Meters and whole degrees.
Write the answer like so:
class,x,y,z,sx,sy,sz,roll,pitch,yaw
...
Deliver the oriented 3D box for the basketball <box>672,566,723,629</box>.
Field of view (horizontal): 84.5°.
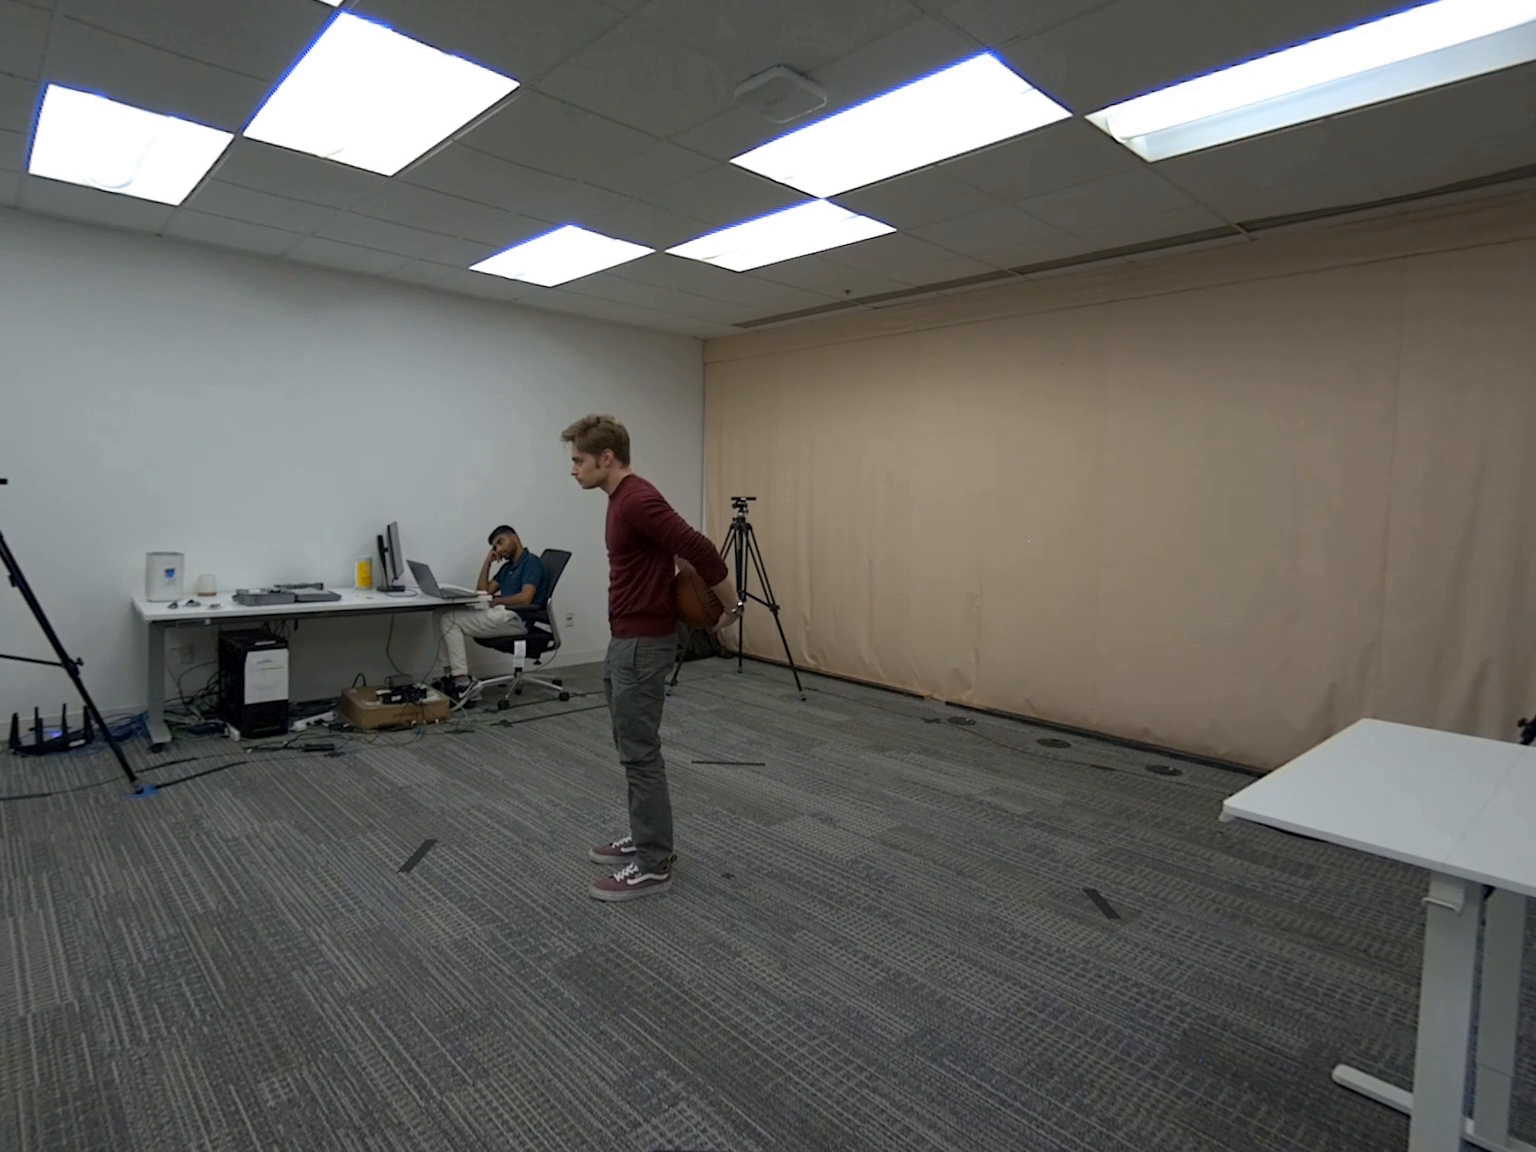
class,x,y,z,sx,sy,sz,roll,pitch,yaw
basketball,-0.254,0.062,3.040,0.236,0.235,0.237,1,4,-1
